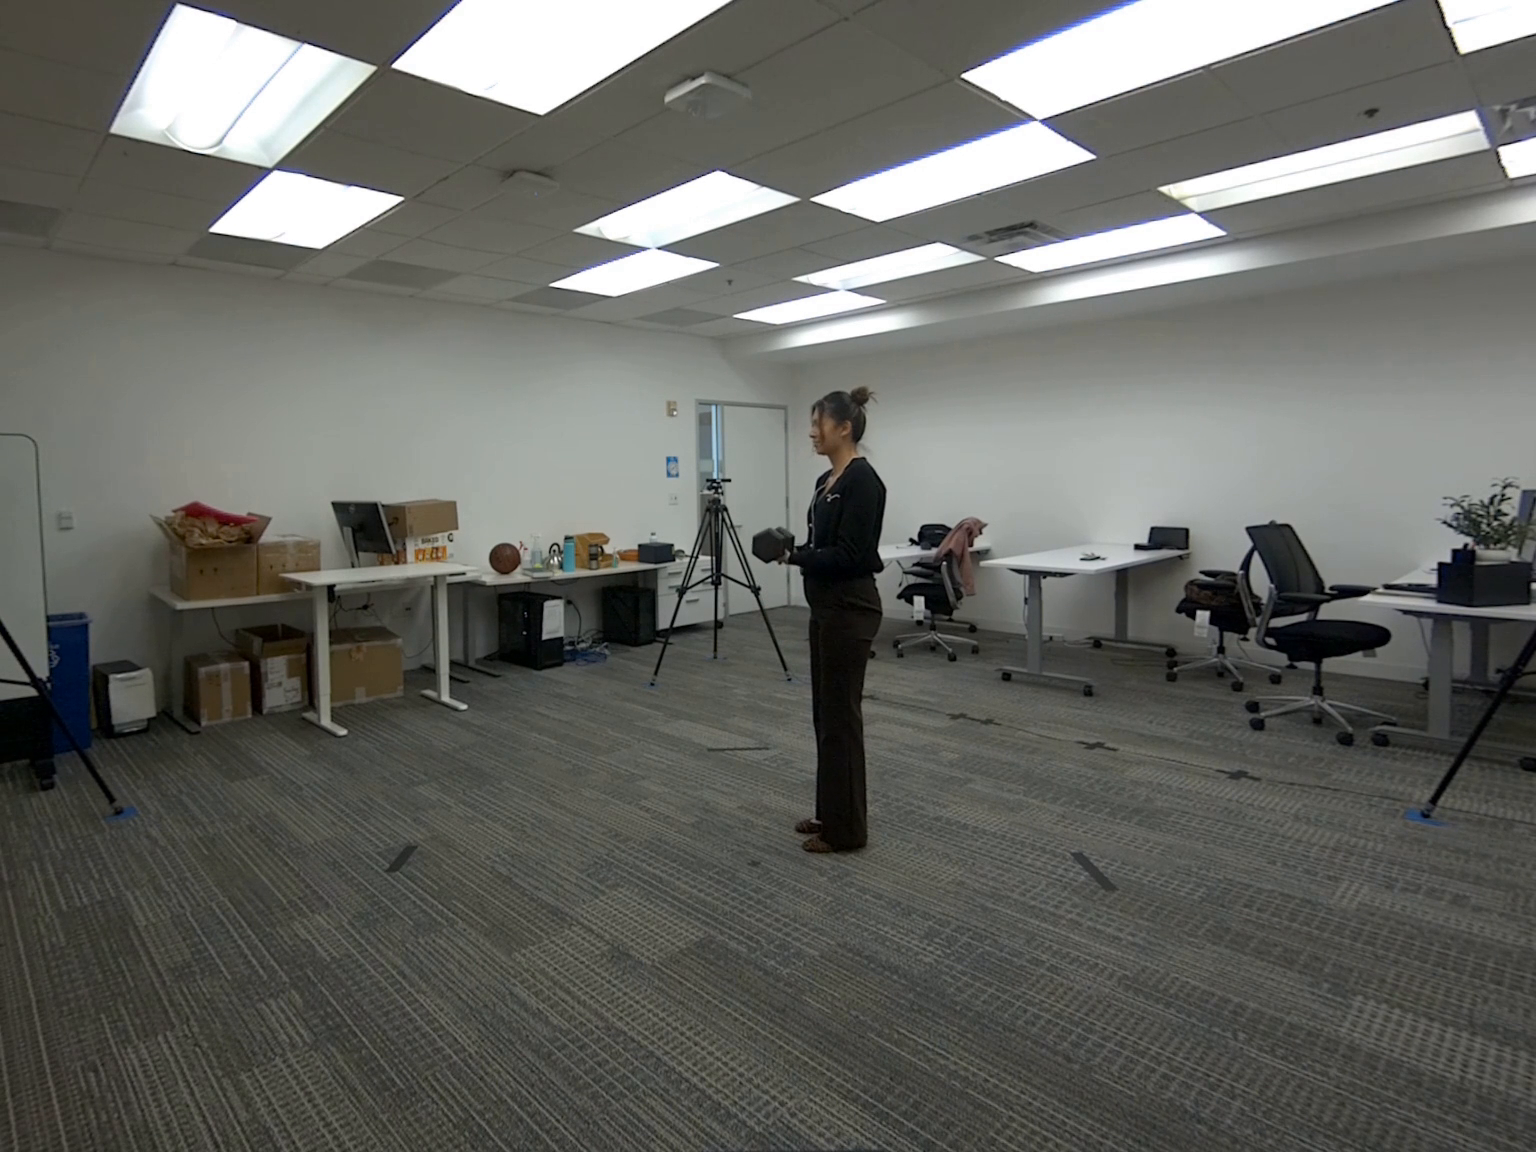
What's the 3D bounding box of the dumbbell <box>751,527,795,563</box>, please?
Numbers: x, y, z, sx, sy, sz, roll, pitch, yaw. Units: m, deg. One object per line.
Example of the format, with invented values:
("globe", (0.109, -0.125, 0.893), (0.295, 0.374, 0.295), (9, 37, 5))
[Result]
("dumbbell", (0.031, -0.114, 3.047), (0.124, 0.108, 0.291), (35, 9, 6))
